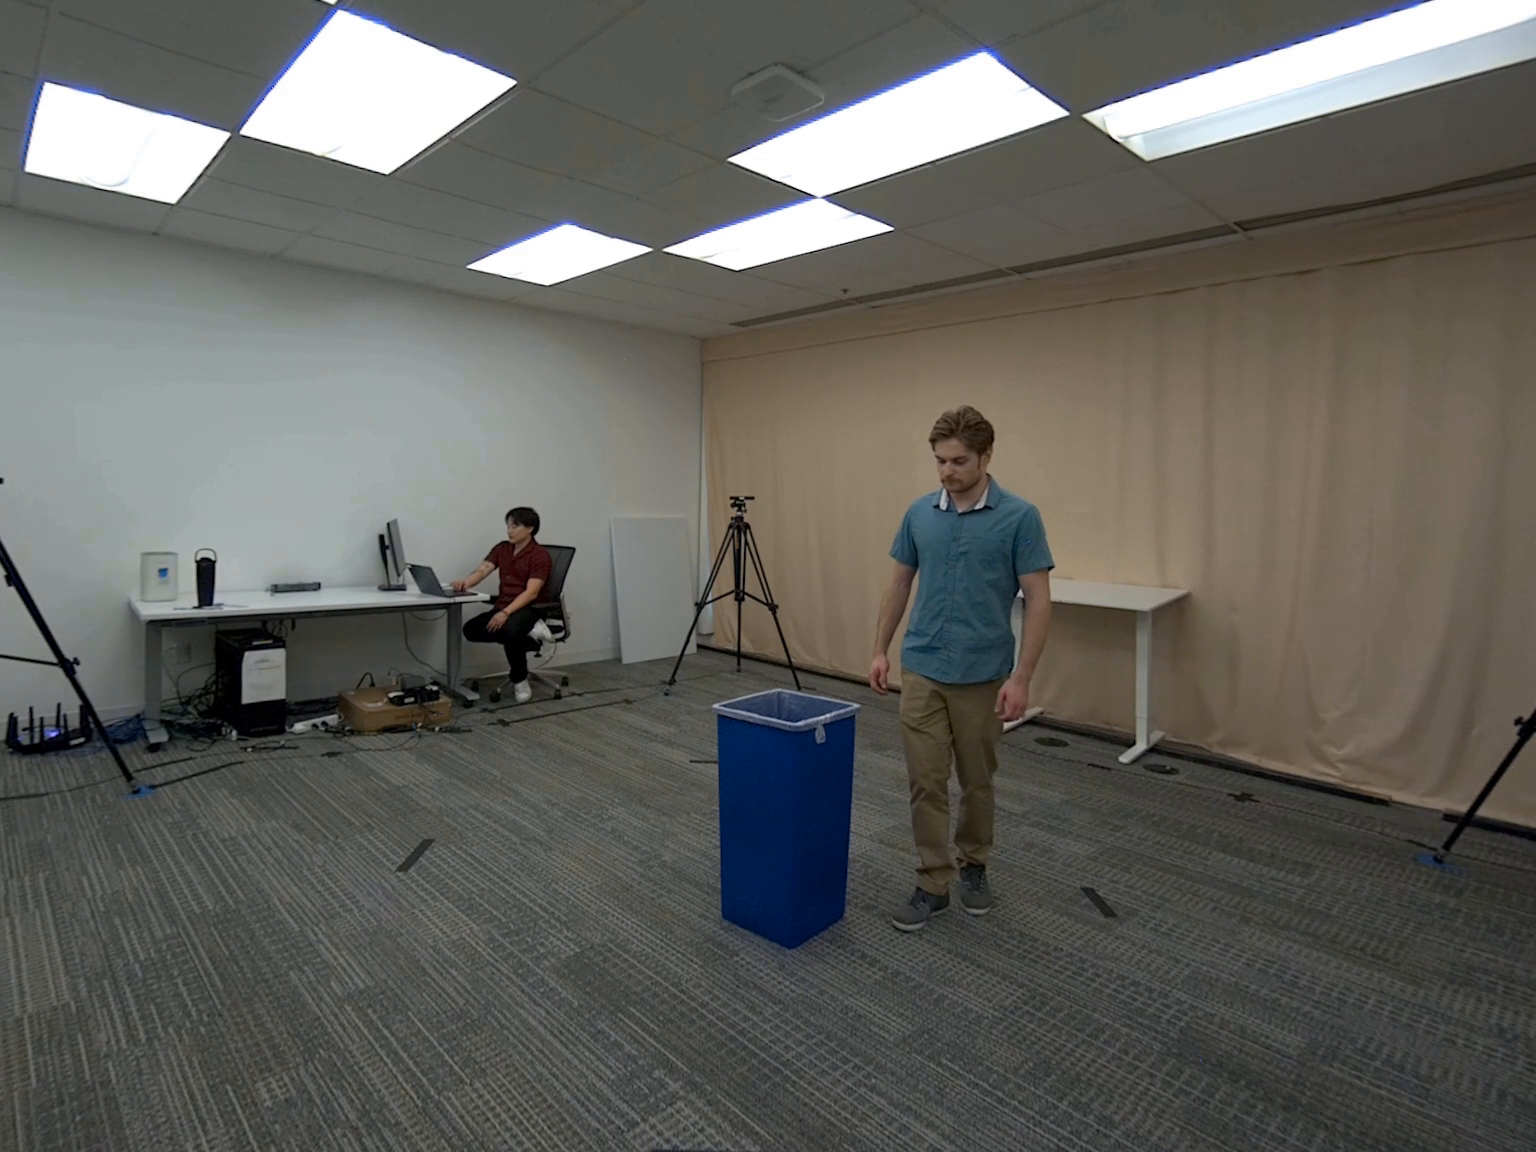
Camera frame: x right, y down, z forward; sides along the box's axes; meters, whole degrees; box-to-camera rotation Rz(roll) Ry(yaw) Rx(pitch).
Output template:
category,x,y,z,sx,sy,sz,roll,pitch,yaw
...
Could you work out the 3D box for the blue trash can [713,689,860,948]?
category,x,y,z,sx,sy,sz,roll,pitch,yaw
blue trash can,0.042,0.779,2.790,0.383,0.712,0.369,4,4,40
